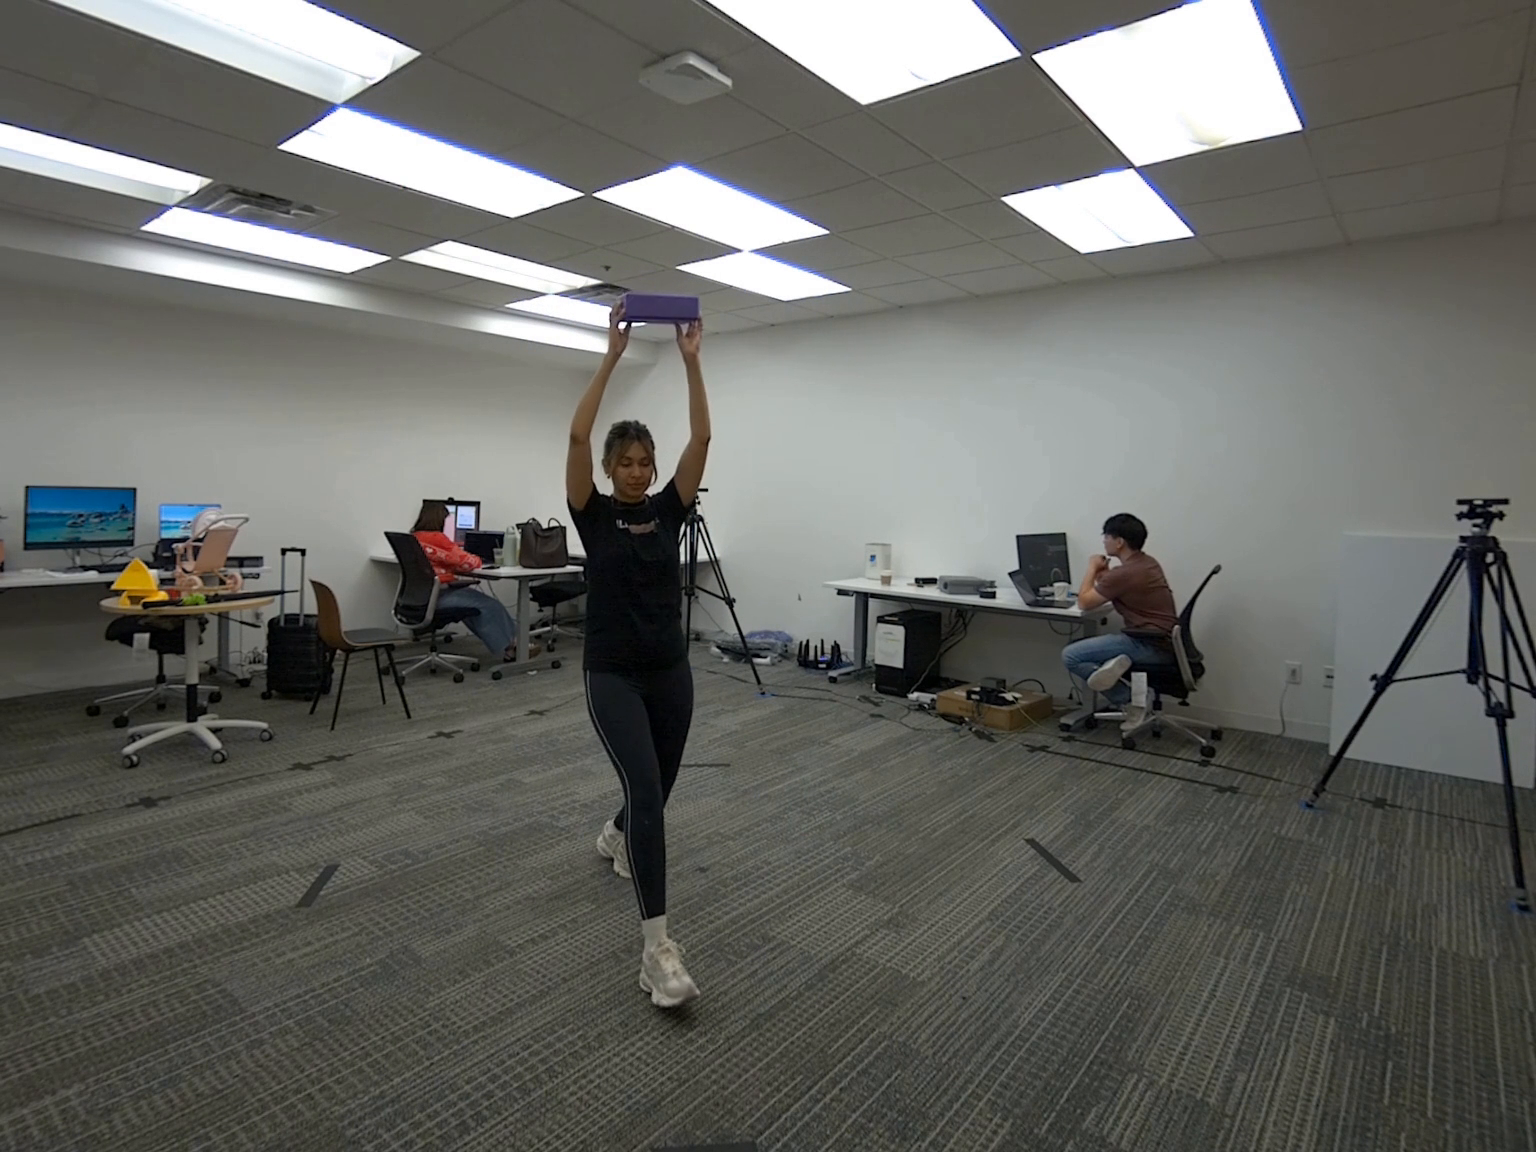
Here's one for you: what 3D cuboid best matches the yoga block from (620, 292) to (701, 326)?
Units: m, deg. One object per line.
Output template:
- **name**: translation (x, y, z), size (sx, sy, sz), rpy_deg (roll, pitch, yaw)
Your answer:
- **yoga block**: translation (-0.356, -0.827, 2.593), size (0.226, 0.076, 0.152), rpy_deg (1, 10, -14)
